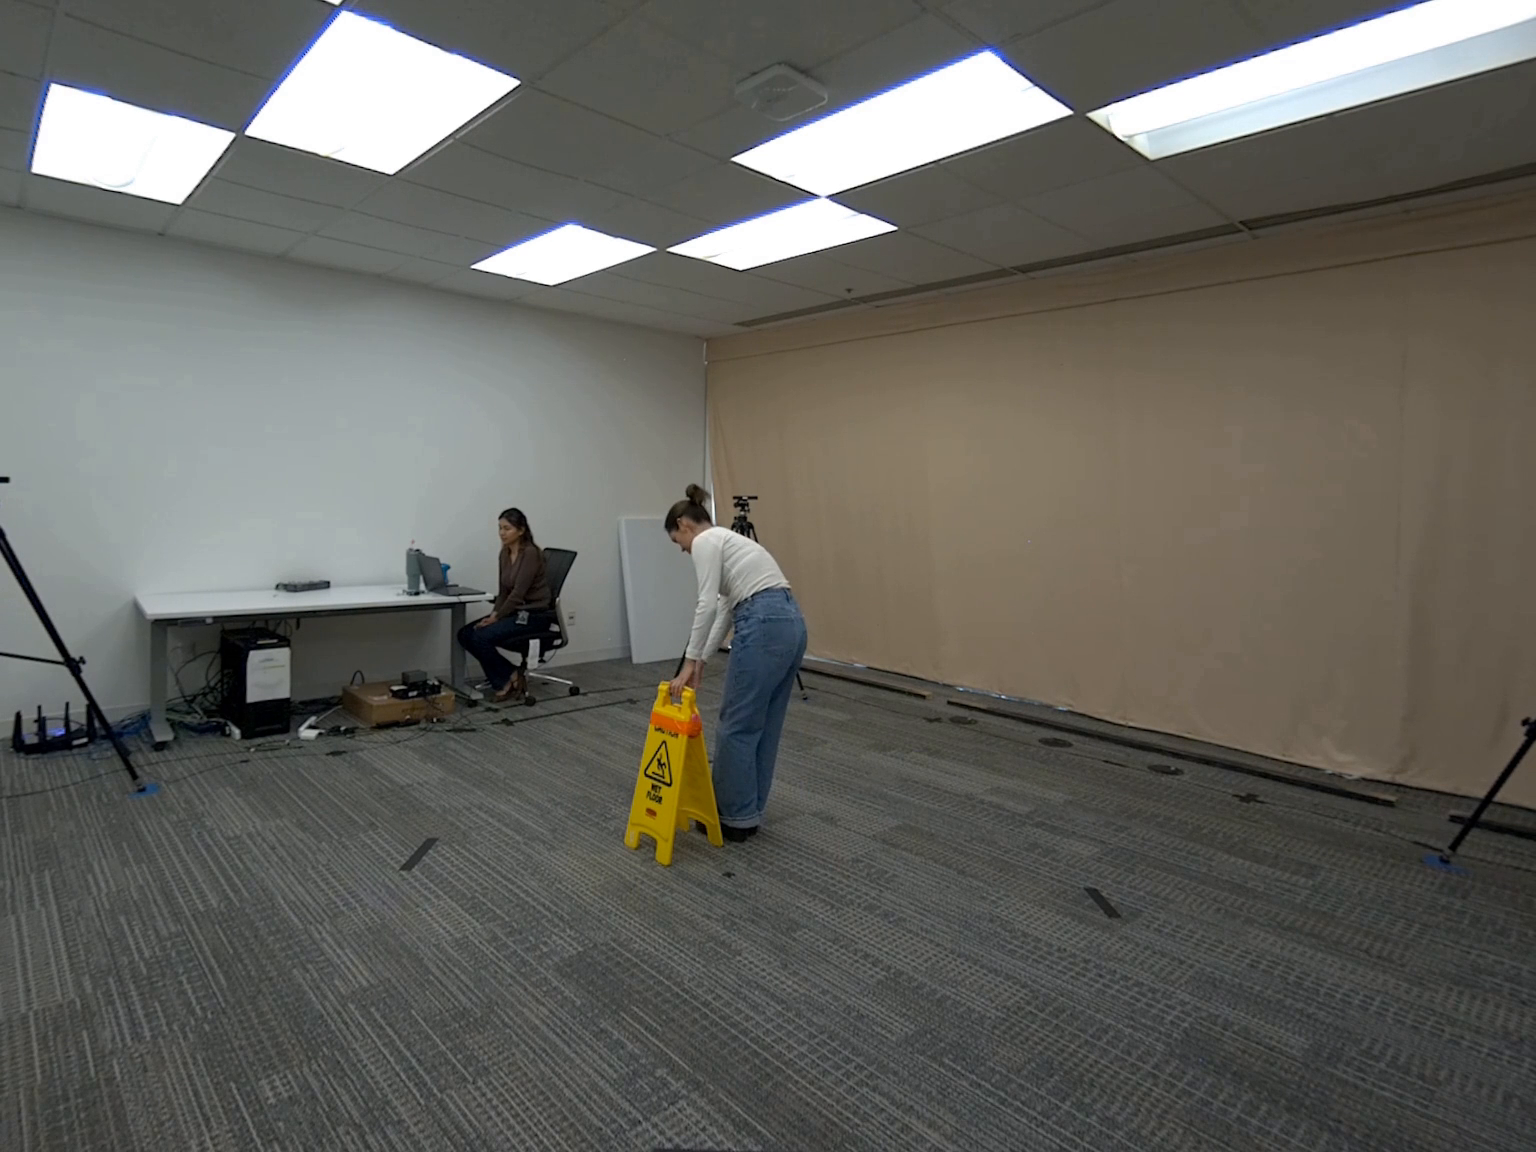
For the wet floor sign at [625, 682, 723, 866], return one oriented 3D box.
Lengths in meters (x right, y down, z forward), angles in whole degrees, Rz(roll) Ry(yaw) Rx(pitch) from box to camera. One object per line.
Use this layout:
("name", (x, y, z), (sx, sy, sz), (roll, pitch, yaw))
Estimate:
("wet floor sign", (-0.374, 0.753, 3.340), (0.289, 0.645, 0.283), (5, 4, 45))
